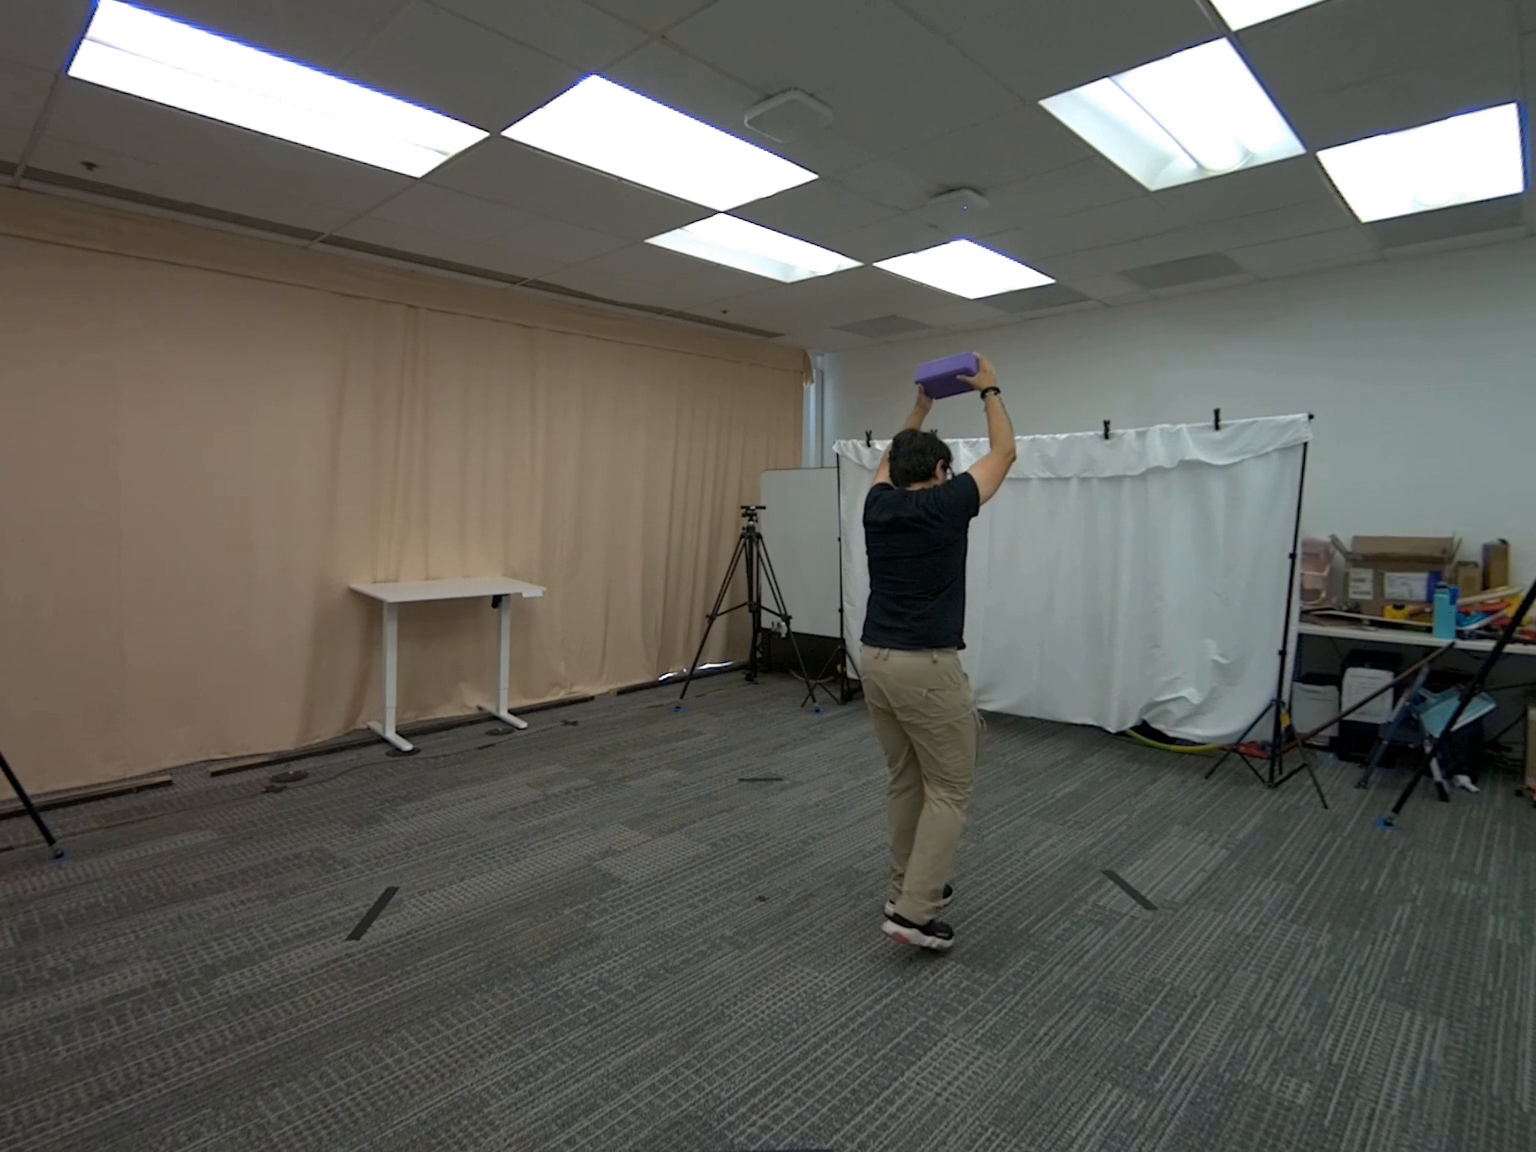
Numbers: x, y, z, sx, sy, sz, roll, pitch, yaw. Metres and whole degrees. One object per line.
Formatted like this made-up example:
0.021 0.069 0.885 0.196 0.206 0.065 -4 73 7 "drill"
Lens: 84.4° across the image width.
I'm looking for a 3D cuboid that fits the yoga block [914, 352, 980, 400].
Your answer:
0.662 -0.716 3.009 0.236 0.077 0.143 -5 -22 43 "yoga block"
